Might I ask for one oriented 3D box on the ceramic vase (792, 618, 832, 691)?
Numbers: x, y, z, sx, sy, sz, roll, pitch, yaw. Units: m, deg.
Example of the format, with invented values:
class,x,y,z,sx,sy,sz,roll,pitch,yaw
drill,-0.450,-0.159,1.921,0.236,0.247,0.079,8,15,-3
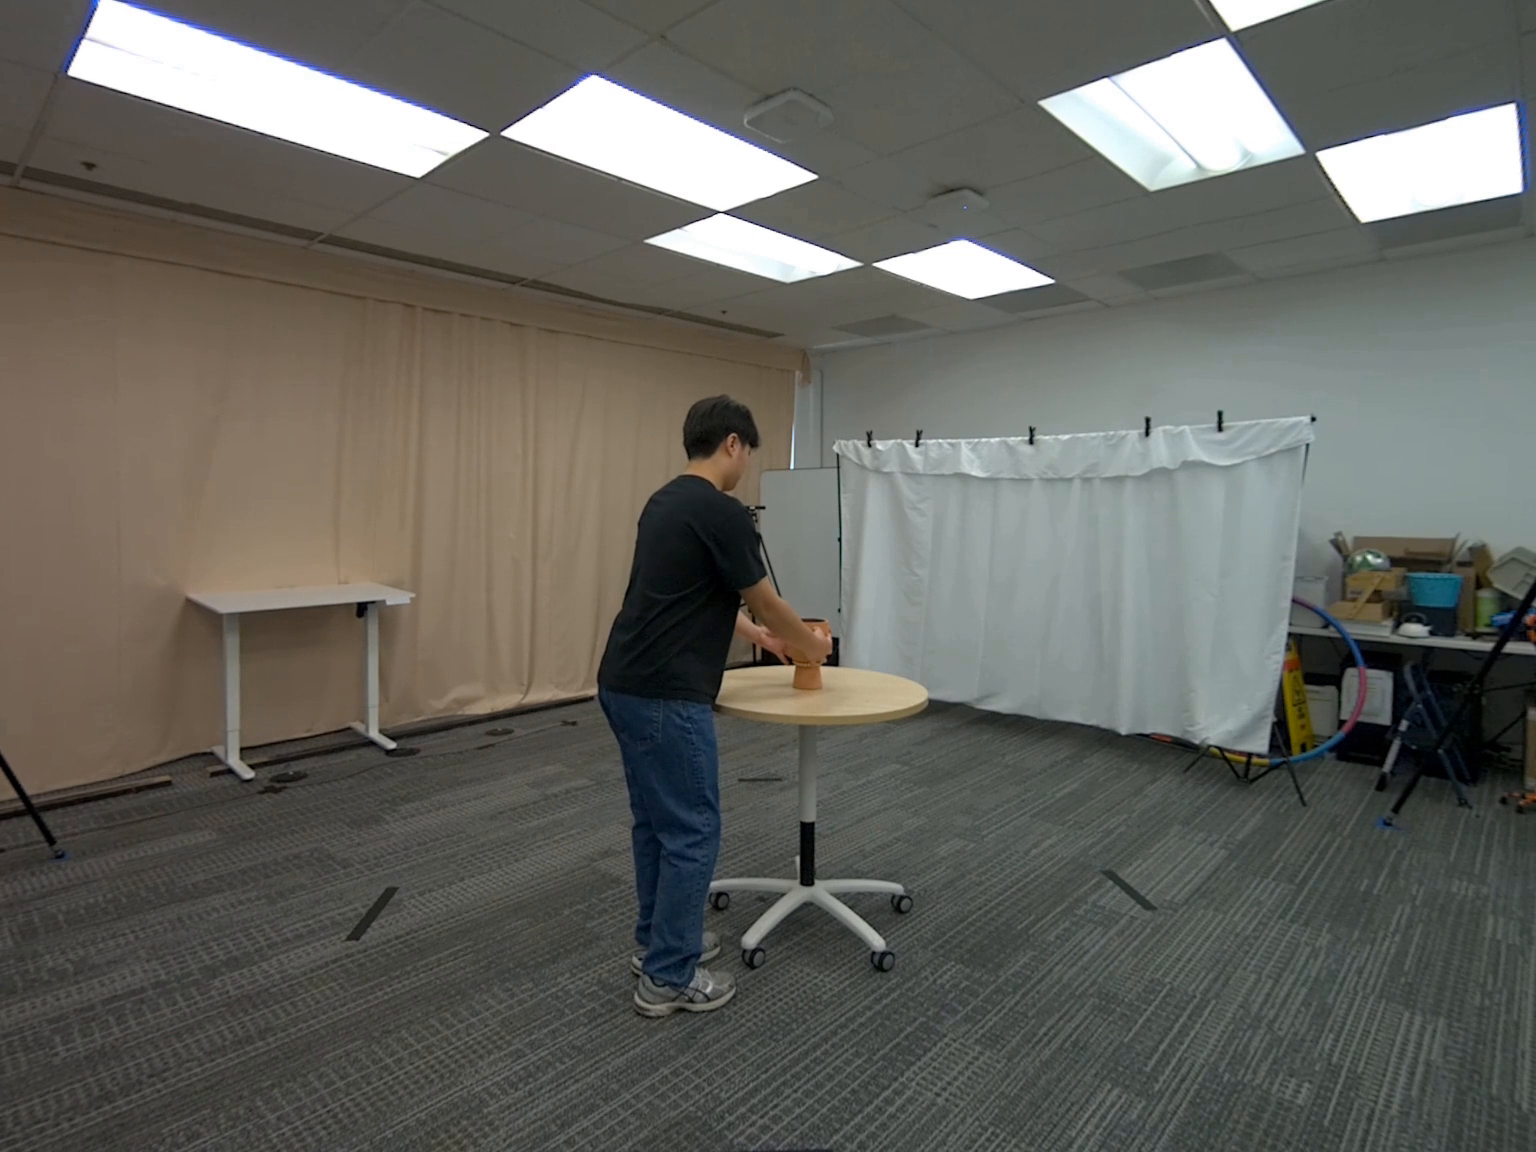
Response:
class,x,y,z,sx,sy,sz,roll,pitch,yaw
ceramic vase,0.139,0.257,2.756,0.159,0.219,0.134,1,4,3
